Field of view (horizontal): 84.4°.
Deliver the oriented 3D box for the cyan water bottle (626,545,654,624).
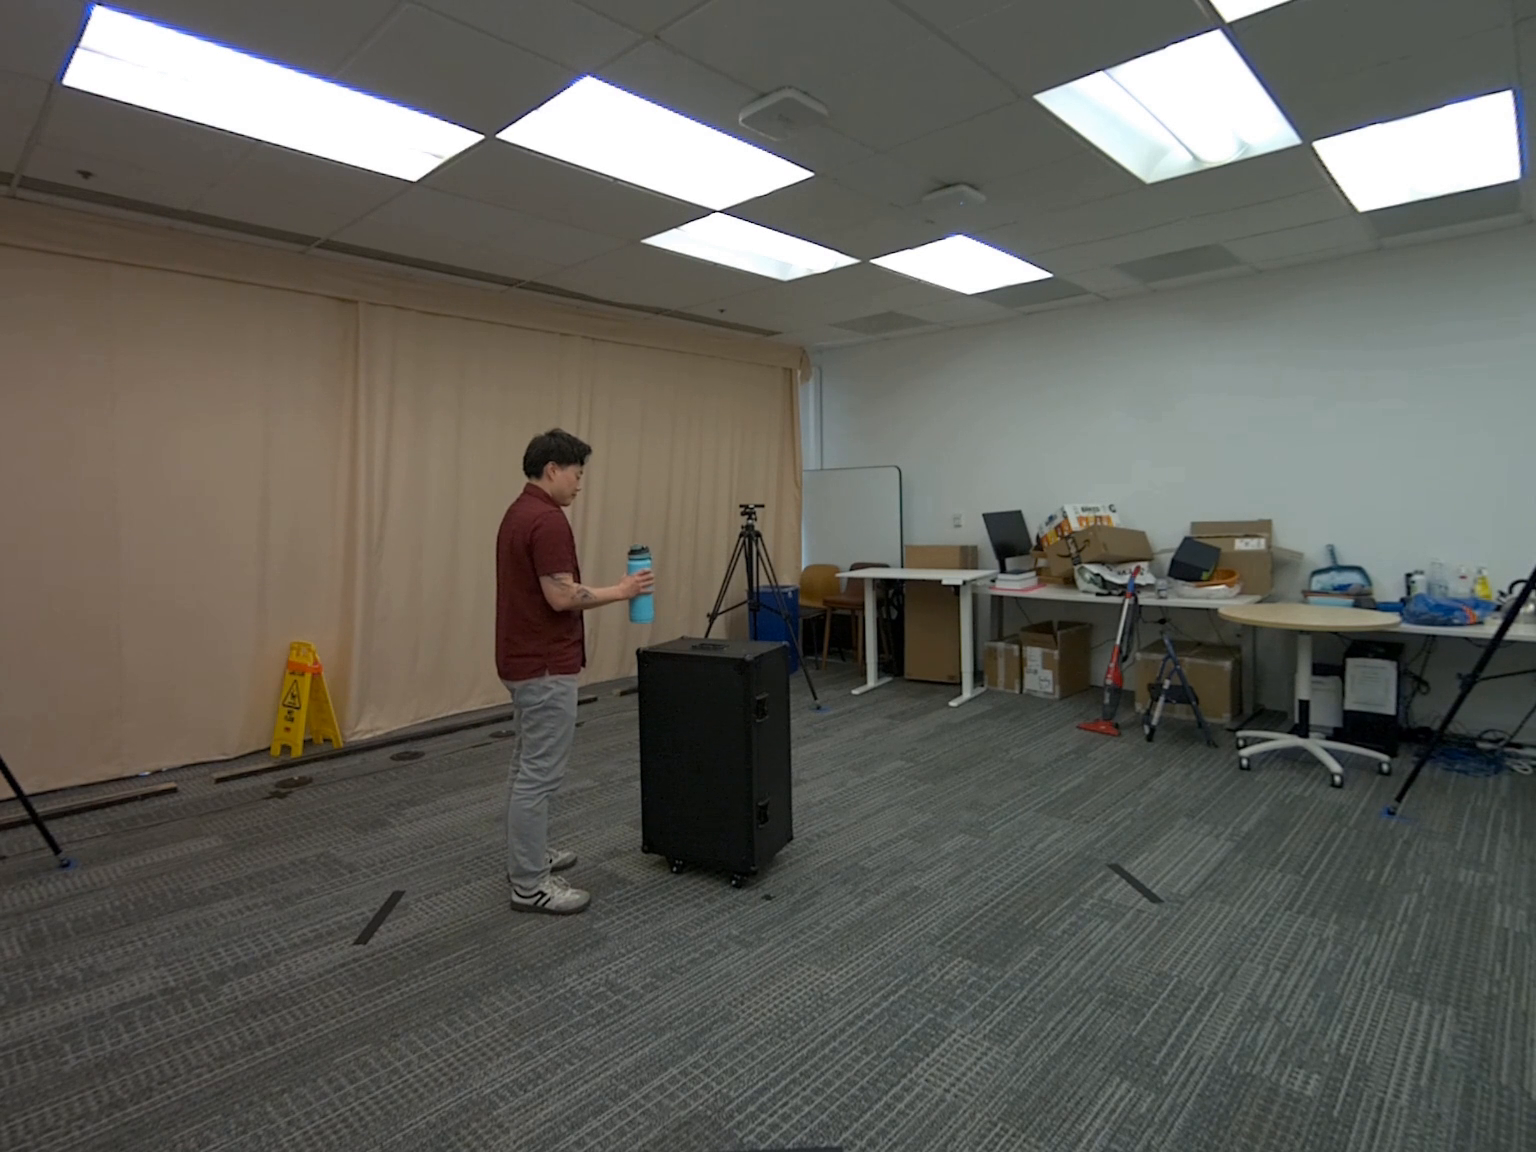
[{"bbox_3d":[-0.474,0.023,3.077,0.092,0.282,0.093,-1,6,-2],"label":"cyan water bottle"}]
